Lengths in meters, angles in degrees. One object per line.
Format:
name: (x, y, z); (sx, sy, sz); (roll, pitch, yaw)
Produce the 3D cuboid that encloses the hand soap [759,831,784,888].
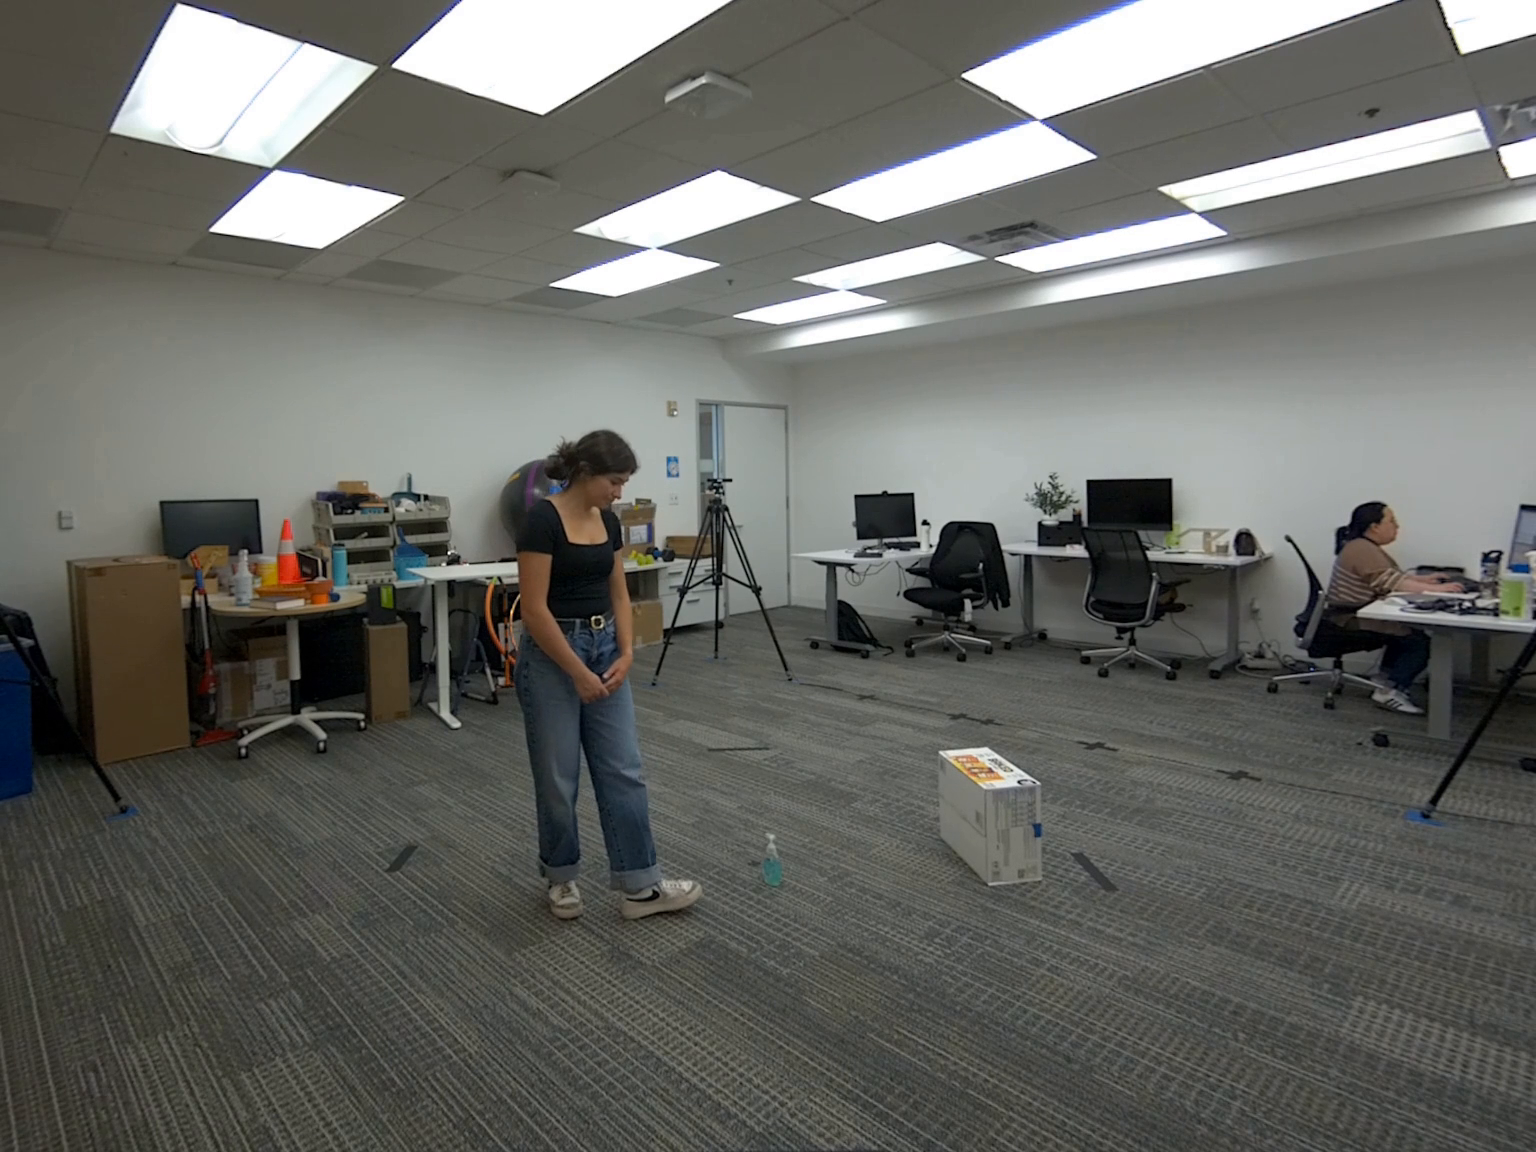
hand soap: (0.019, 0.982, 2.950); (0.042, 0.167, 0.087); (-7, 9, -36)
